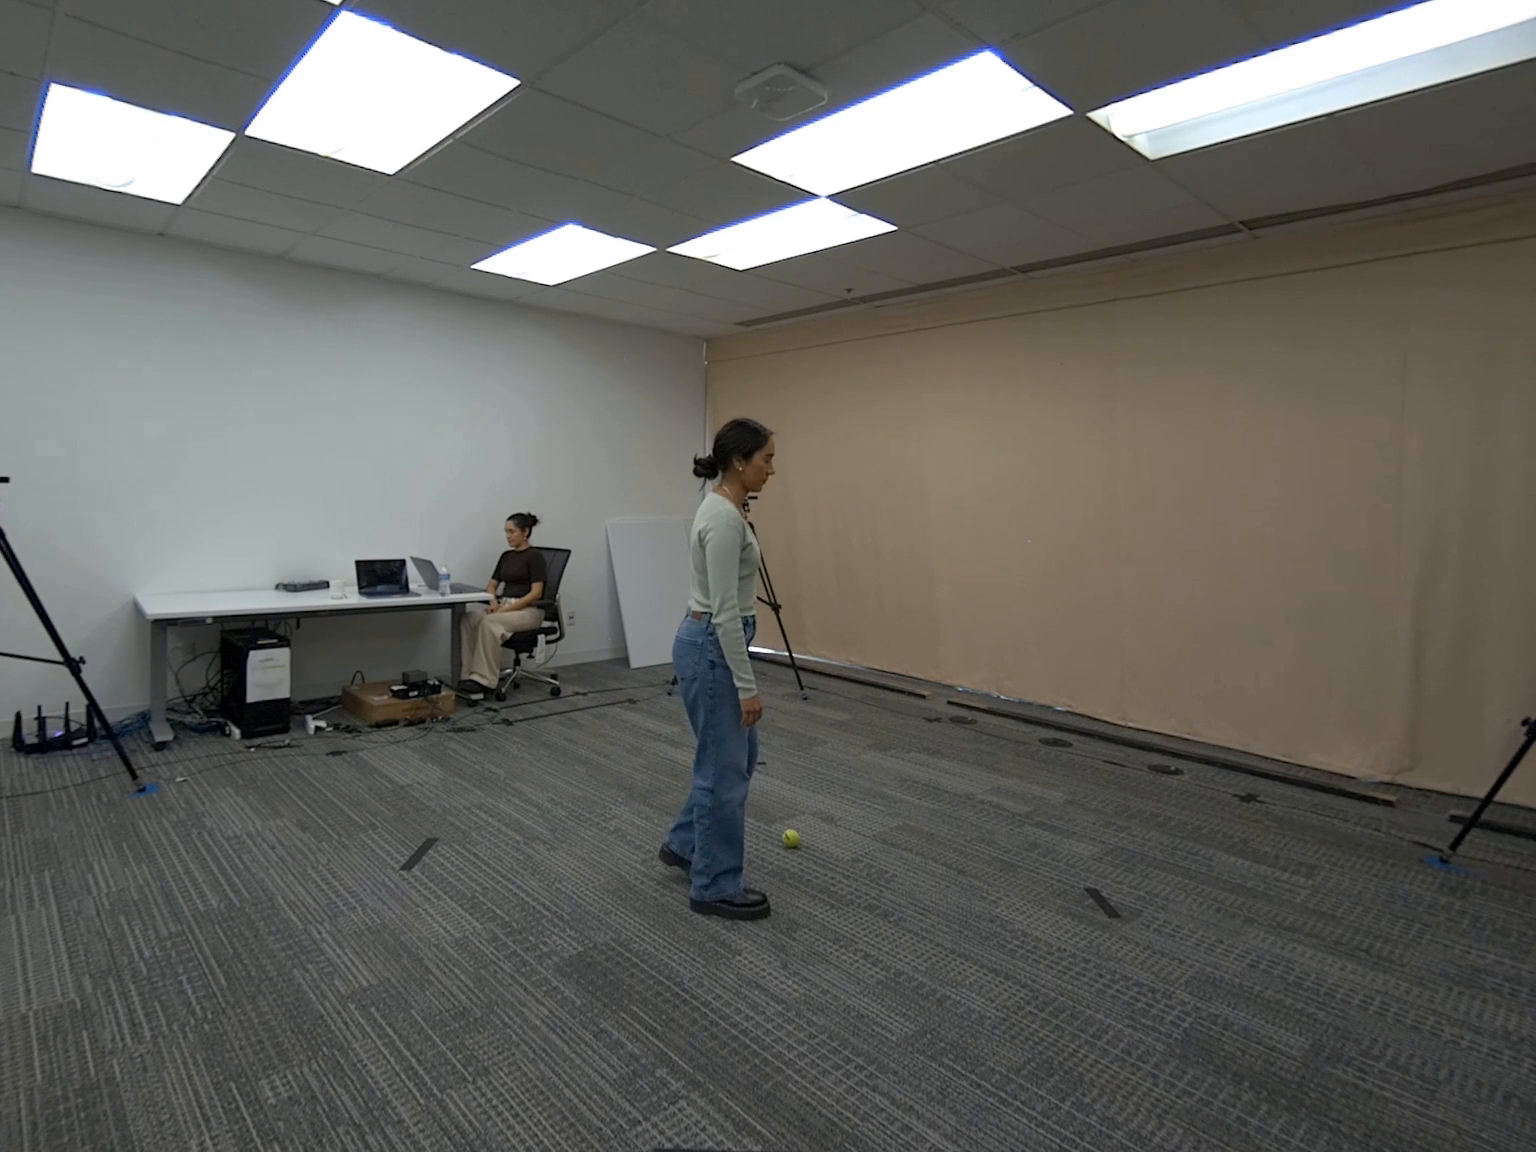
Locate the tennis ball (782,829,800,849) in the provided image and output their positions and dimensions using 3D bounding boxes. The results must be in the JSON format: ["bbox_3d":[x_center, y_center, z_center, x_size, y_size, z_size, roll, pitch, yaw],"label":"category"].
[{"bbox_3d":[0.085,1.032,3.372,0.066,0.066,0.067,1,4,-1],"label":"tennis ball"}]
